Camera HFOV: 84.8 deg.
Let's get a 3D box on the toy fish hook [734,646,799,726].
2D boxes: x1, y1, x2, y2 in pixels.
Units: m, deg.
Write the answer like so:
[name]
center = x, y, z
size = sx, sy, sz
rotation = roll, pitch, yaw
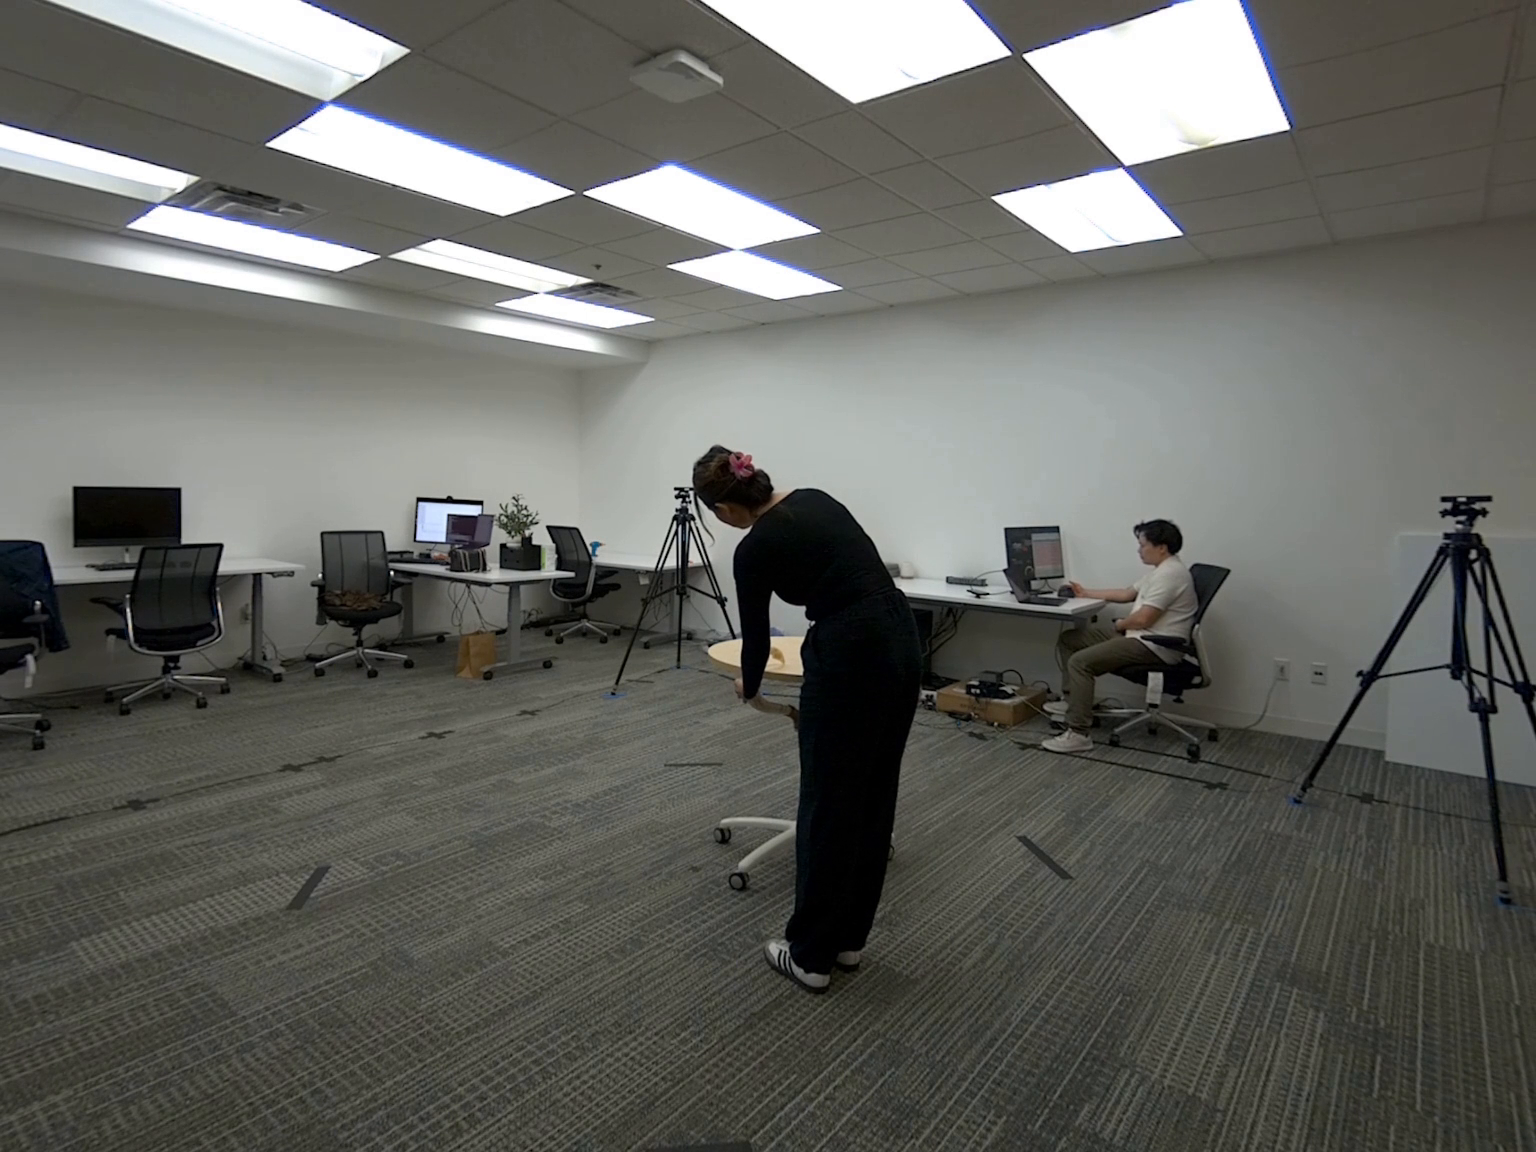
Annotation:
[toy fish hook]
center = 0.050, 0.403, 2.944
size = 0.050, 0.227, 0.485
rotation = 3, -27, 36
